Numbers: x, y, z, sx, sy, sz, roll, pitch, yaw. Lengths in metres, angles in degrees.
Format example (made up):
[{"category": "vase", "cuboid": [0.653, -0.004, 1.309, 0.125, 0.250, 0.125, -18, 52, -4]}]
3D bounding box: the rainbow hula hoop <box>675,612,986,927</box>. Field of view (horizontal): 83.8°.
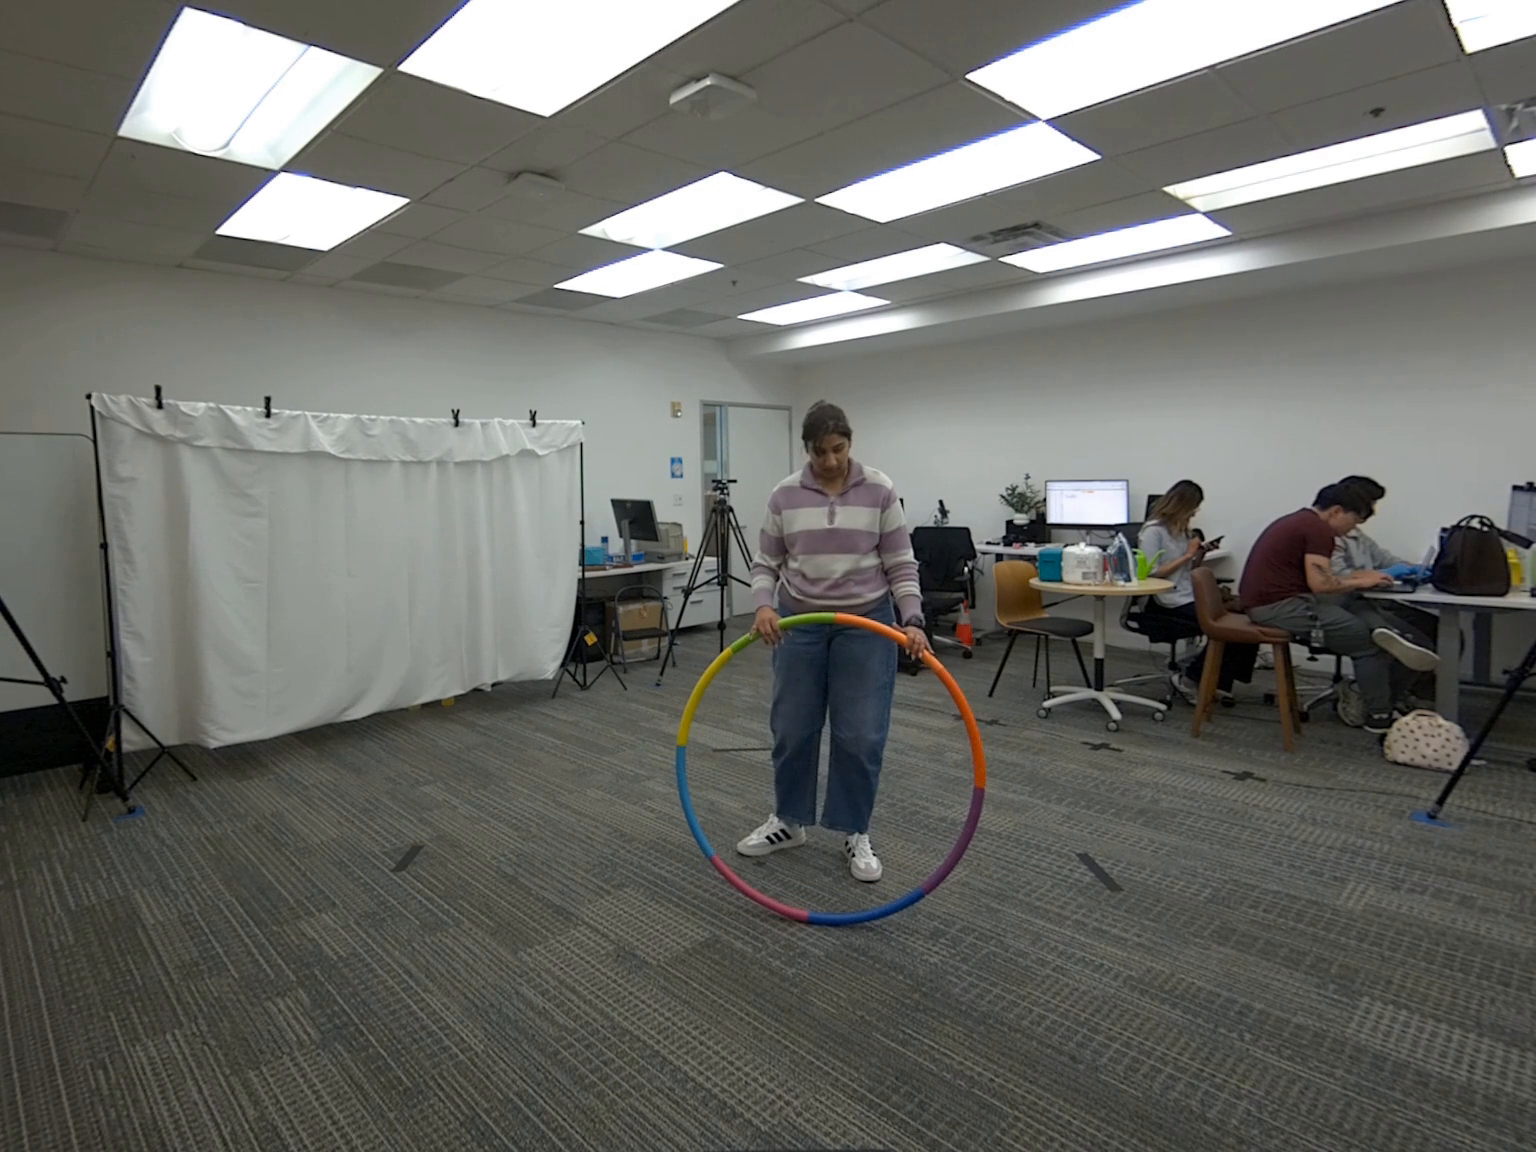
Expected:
[{"category": "rainbow hula hoop", "cuboid": [0.173, 0.606, 2.758, 0.999, 0.993, 0.050, 0, -9, 15]}]
